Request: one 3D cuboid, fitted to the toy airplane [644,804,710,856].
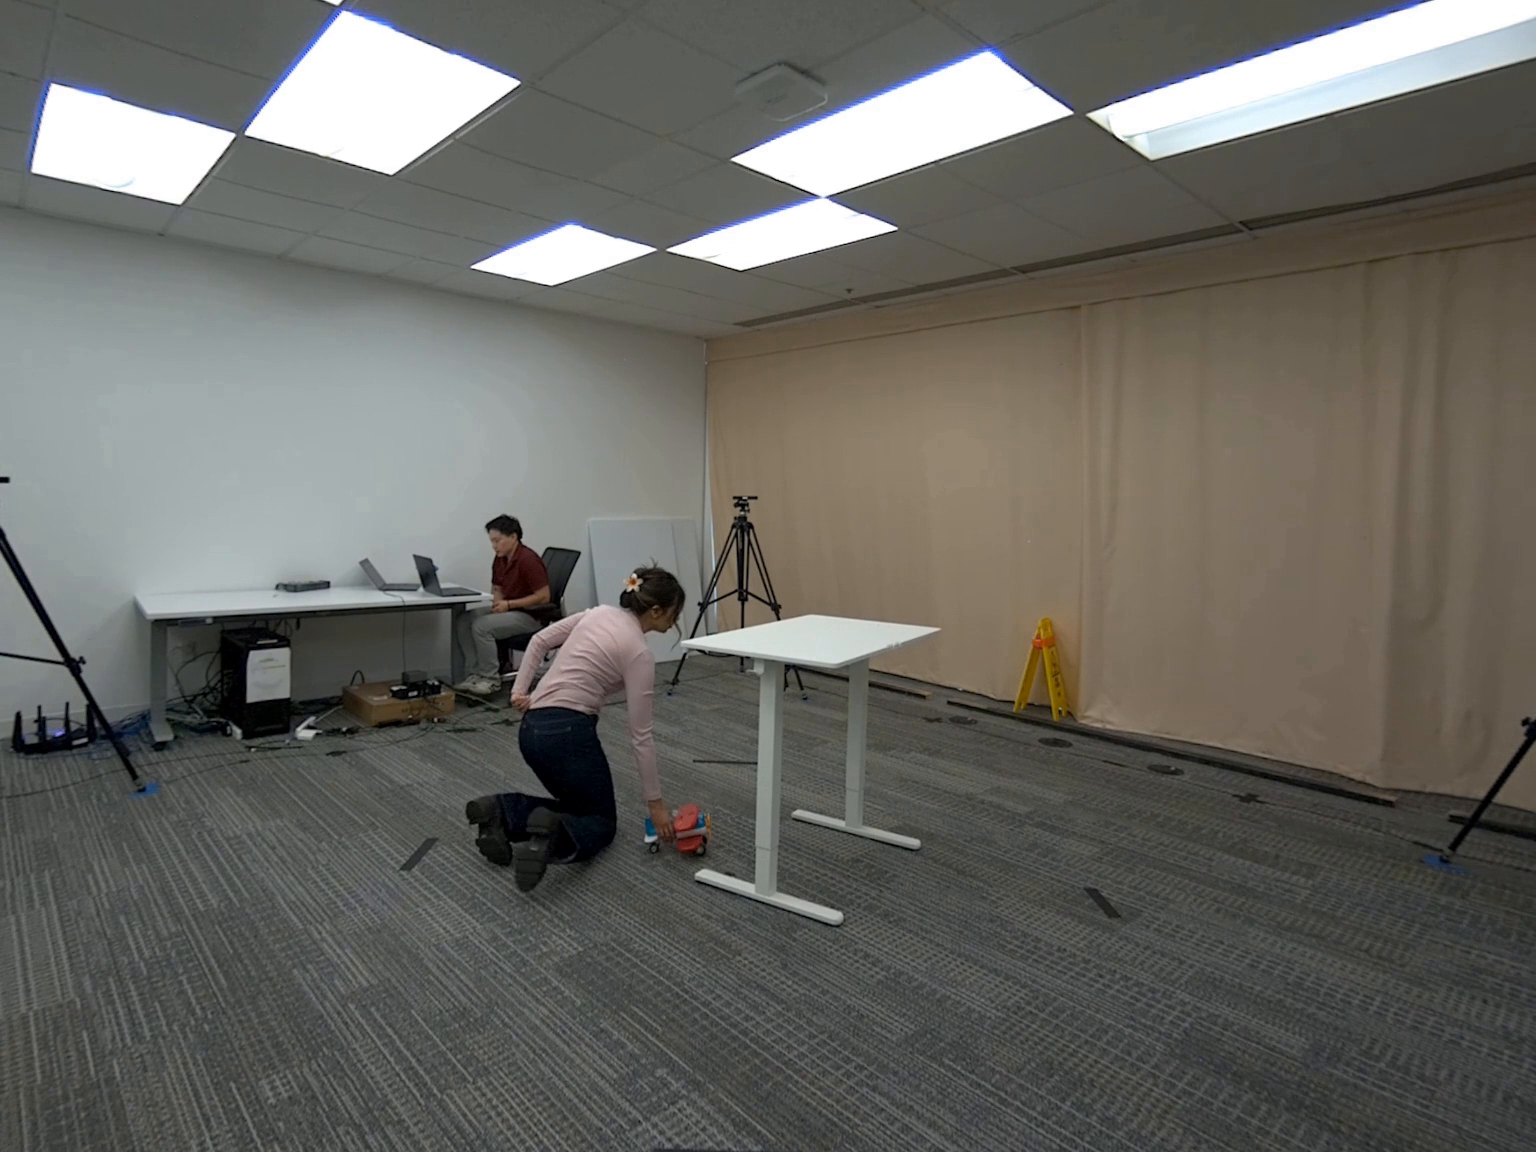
[{"bbox_3d":[-0.357,1.009,3.279,0.254,0.156,0.256,0,4,-27],"label":"toy airplane"}]
